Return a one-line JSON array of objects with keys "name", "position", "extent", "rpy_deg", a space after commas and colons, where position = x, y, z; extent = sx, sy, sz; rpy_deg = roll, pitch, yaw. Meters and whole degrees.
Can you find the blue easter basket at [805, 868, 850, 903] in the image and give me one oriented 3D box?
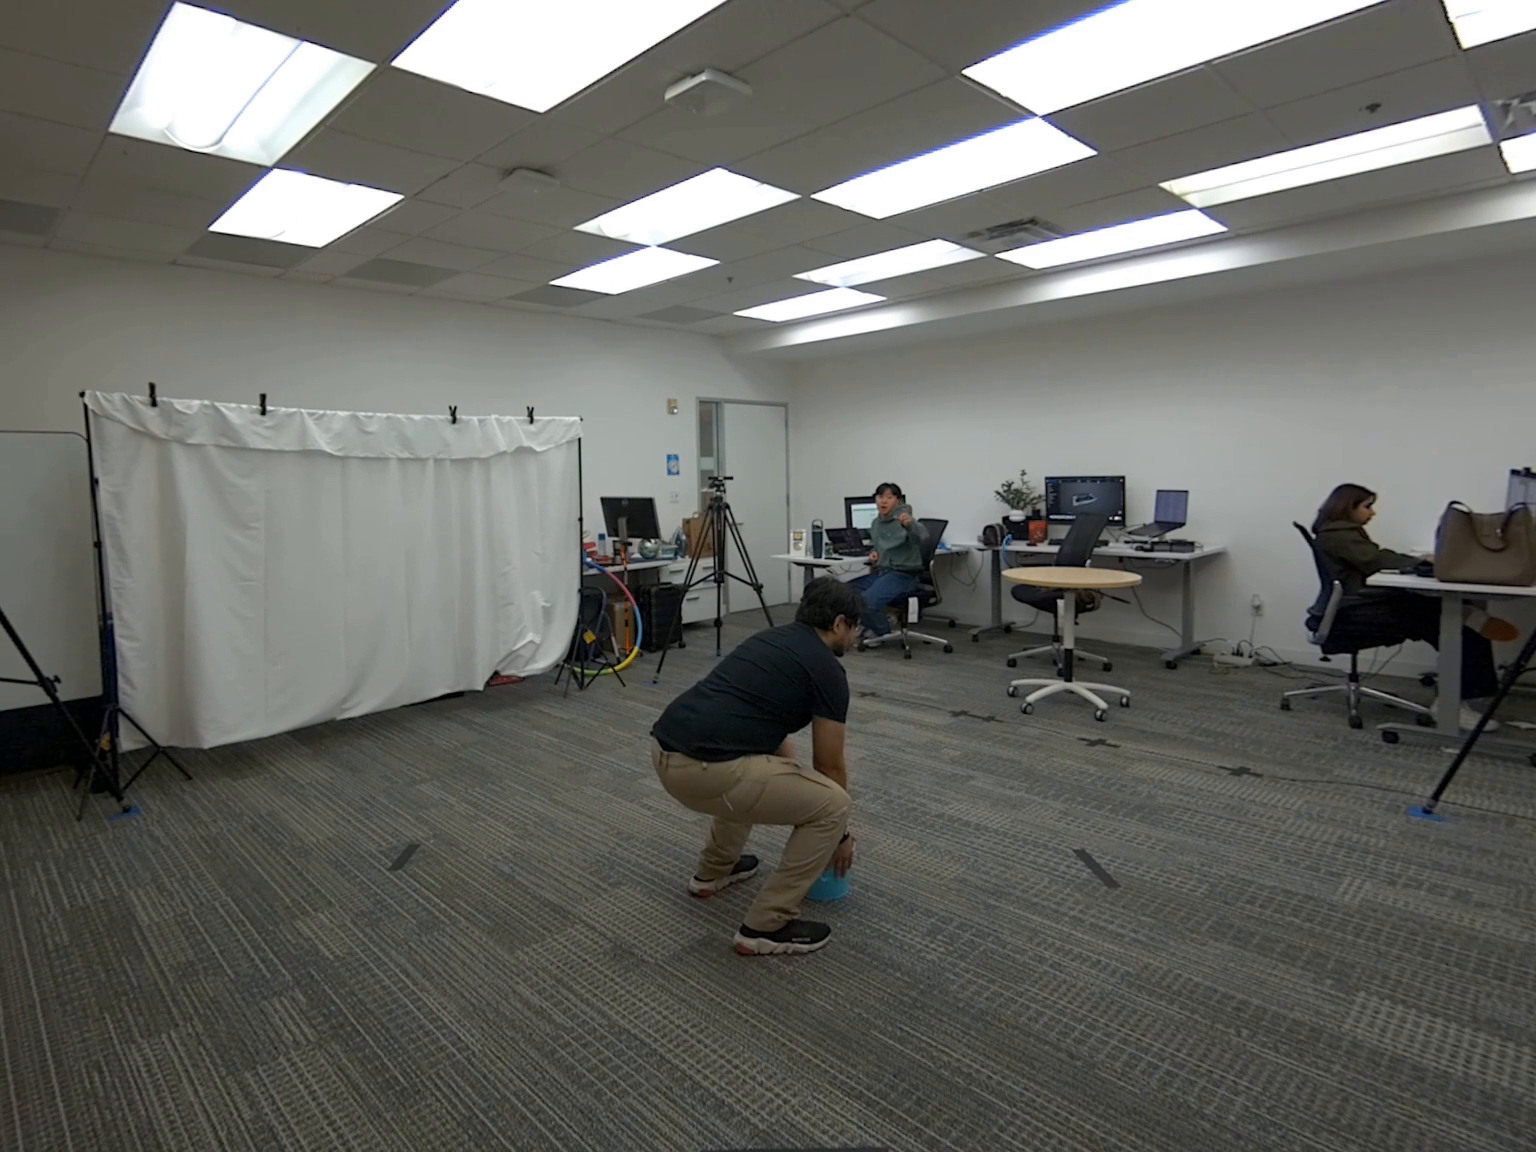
[{"name": "blue easter basket", "position": [0.174, 0.975, 2.895], "extent": [0.243, 0.155, 0.245], "rpy_deg": [1, 7, -2]}]
